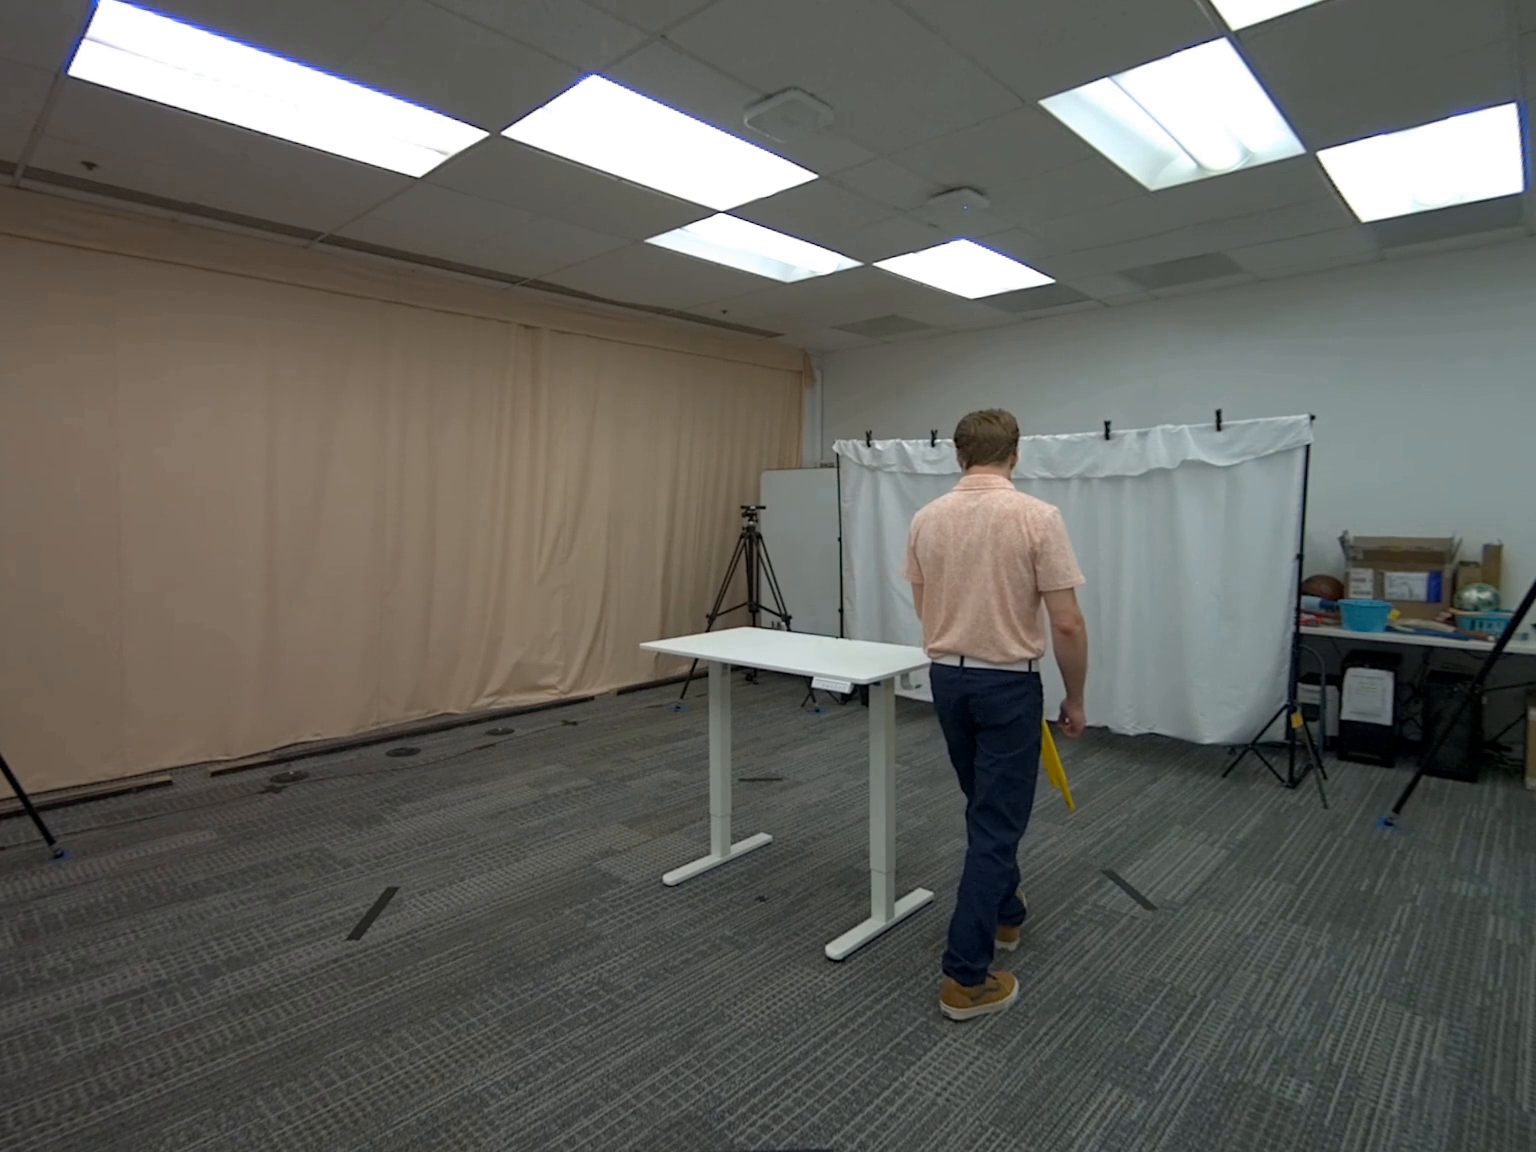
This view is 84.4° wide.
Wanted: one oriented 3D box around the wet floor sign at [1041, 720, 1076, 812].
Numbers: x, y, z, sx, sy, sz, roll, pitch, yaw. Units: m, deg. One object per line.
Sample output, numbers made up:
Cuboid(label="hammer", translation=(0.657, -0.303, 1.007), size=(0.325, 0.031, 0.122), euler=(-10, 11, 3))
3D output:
Cuboid(label="wet floor sign", translation=(0.833, 0.439, 2.823), size=(0.292, 0.644, 0.281), euler=(-8, 3, 7))
